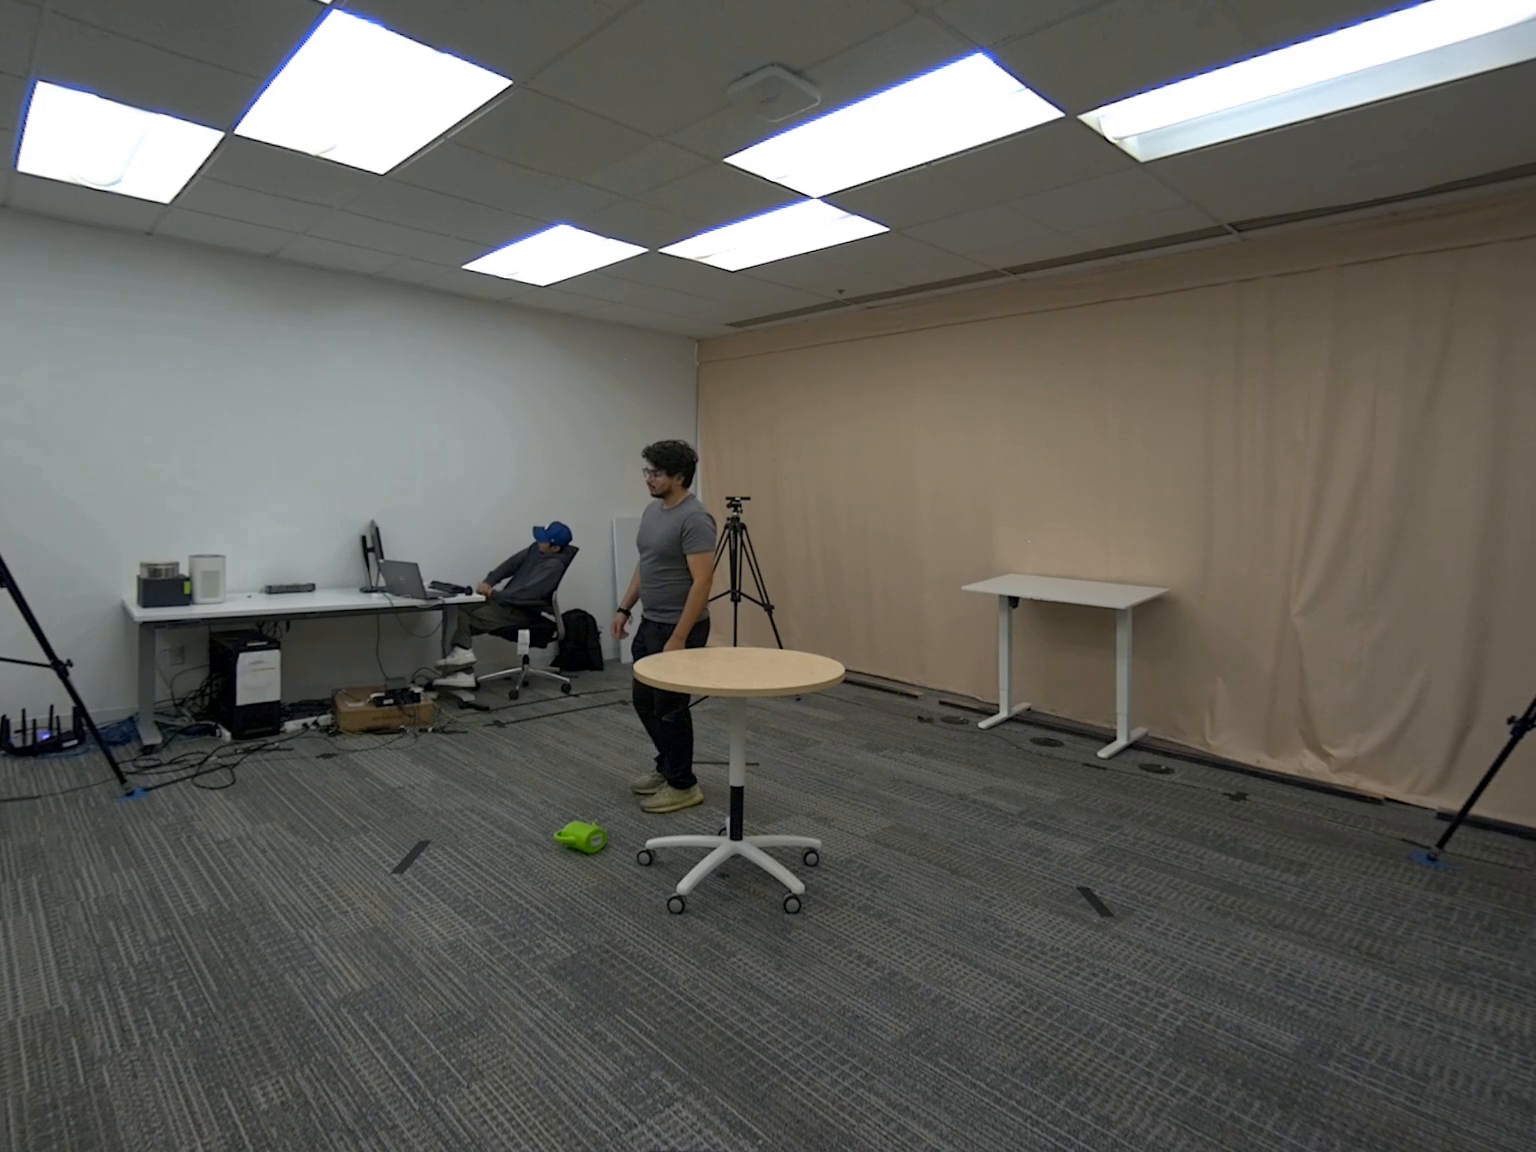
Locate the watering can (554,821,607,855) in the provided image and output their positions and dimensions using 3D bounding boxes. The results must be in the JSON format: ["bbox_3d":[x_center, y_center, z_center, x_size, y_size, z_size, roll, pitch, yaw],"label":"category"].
[{"bbox_3d":[-0.728,1.020,3.359,0.181,0.097,0.274,5,12,32],"label":"watering can"}]
